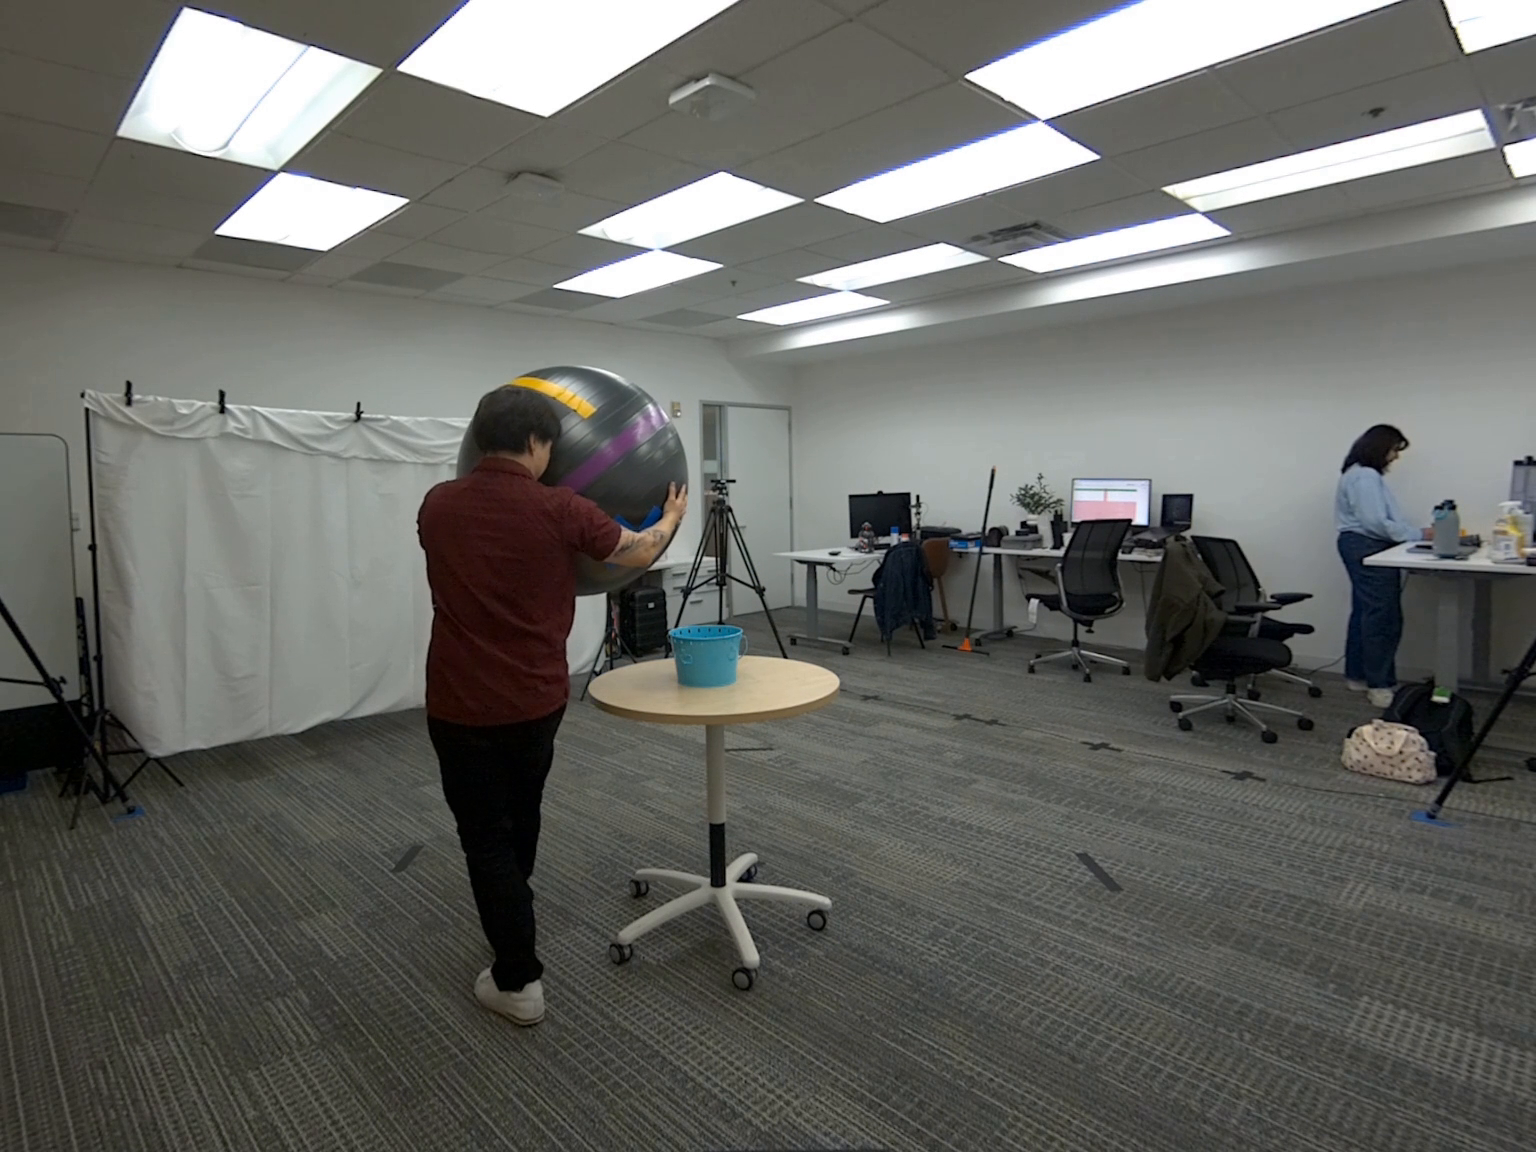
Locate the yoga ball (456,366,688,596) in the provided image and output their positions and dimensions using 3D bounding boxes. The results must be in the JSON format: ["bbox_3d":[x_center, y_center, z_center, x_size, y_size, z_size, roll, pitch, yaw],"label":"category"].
[{"bbox_3d":[-0.644,-0.307,2.832,0.757,0.755,0.762,-1,5,-2],"label":"yoga ball"}]
